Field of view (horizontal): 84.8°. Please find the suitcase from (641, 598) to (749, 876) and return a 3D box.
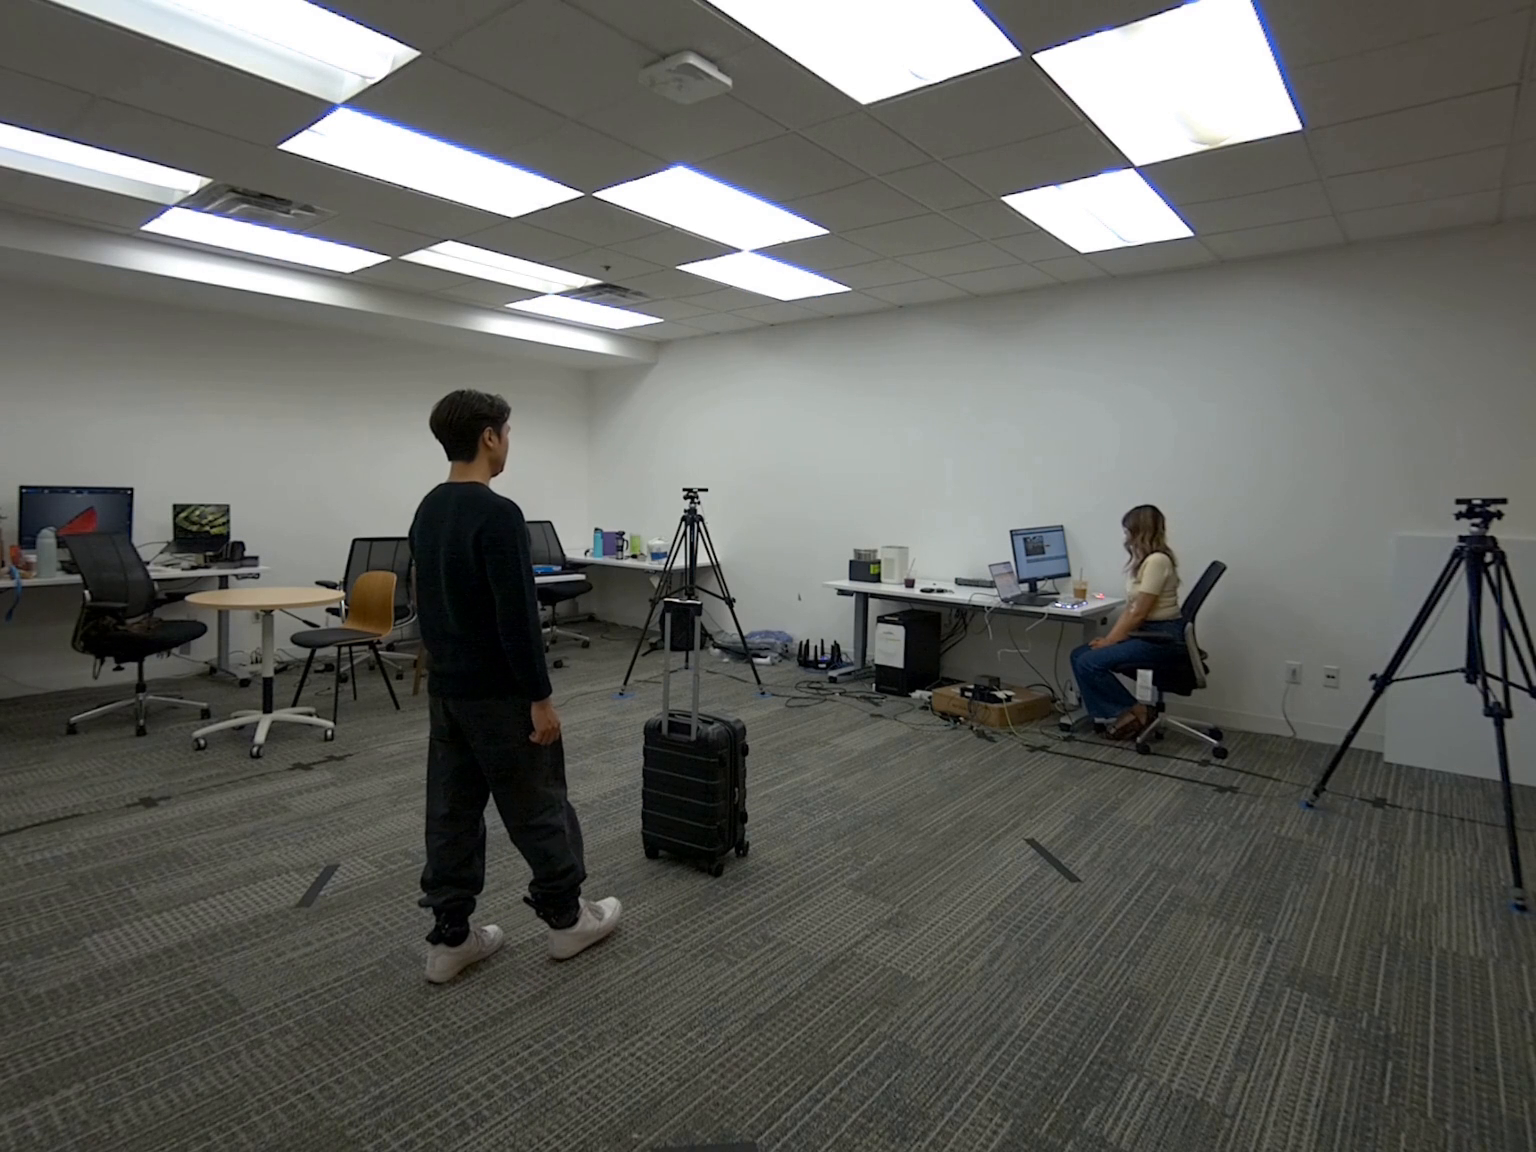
[{"bbox_3d":[-0.279,0.580,3.204,0.395,0.977,0.250,3,2,30],"label":"suitcase"}]
